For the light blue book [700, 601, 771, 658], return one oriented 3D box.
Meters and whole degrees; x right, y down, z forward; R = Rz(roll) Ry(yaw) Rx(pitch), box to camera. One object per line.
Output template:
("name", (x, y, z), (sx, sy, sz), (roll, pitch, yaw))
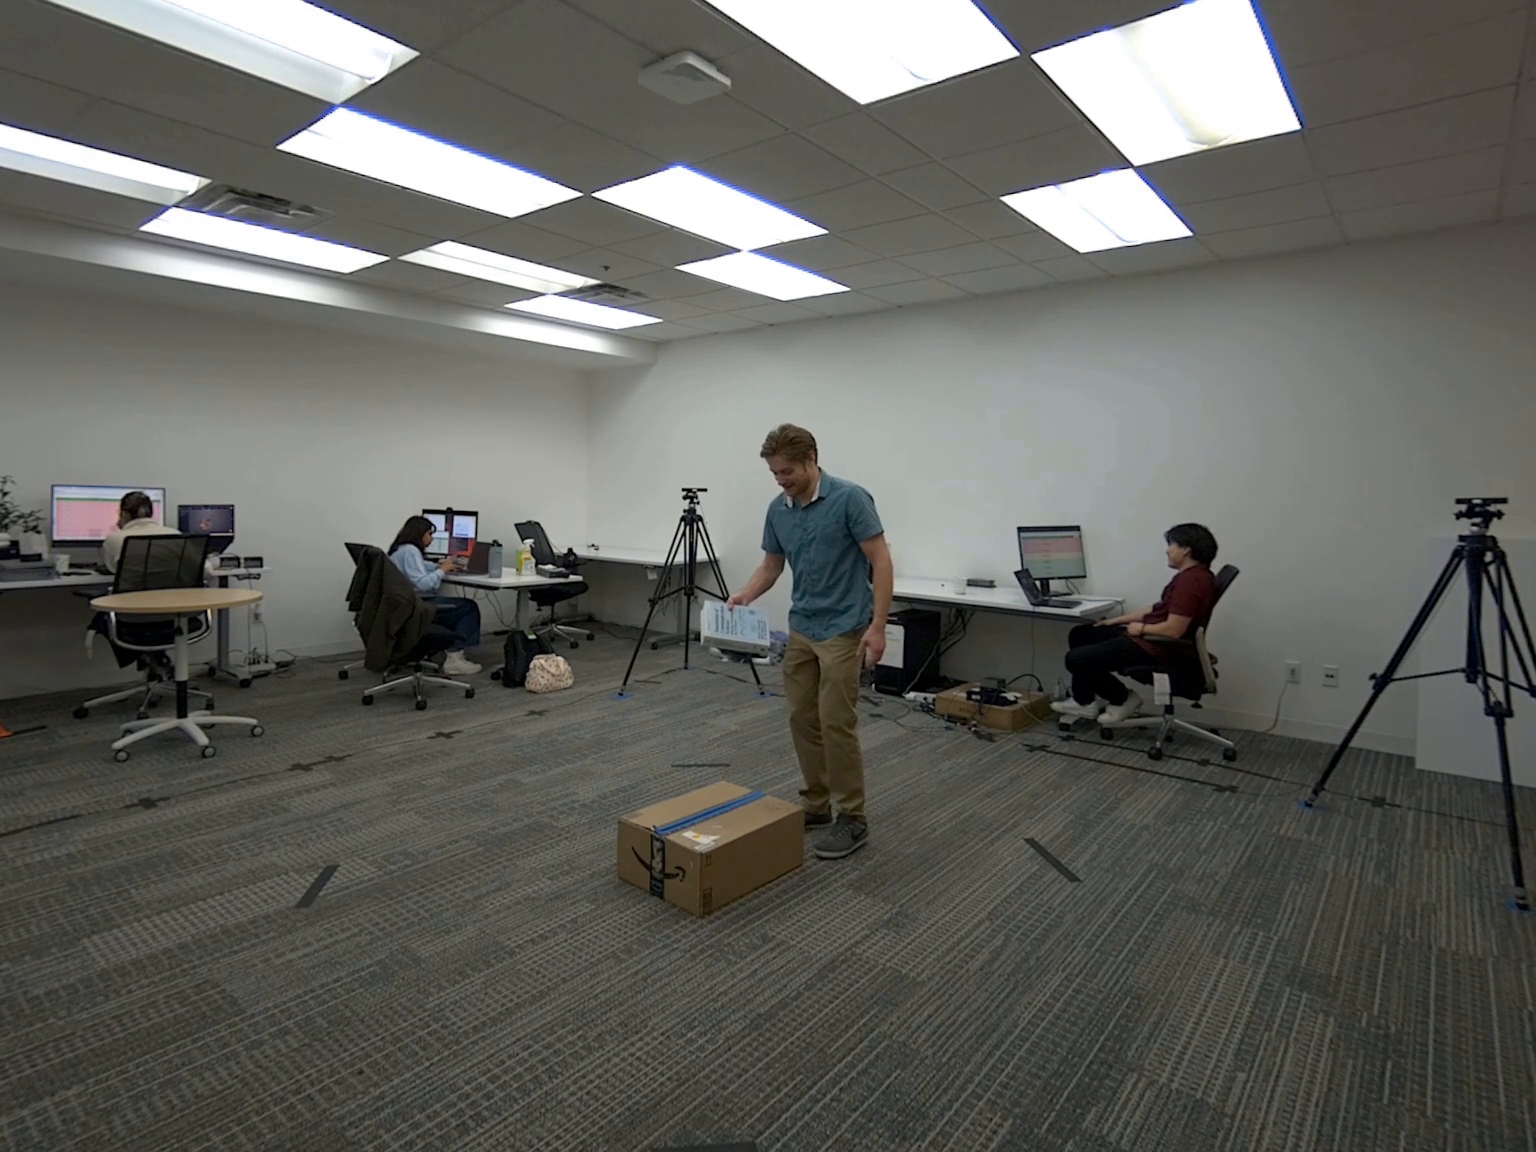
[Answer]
("light blue book", (-0.136, 0.203, 3.351), (0.259, 0.058, 0.196), (9, 43, -5))
